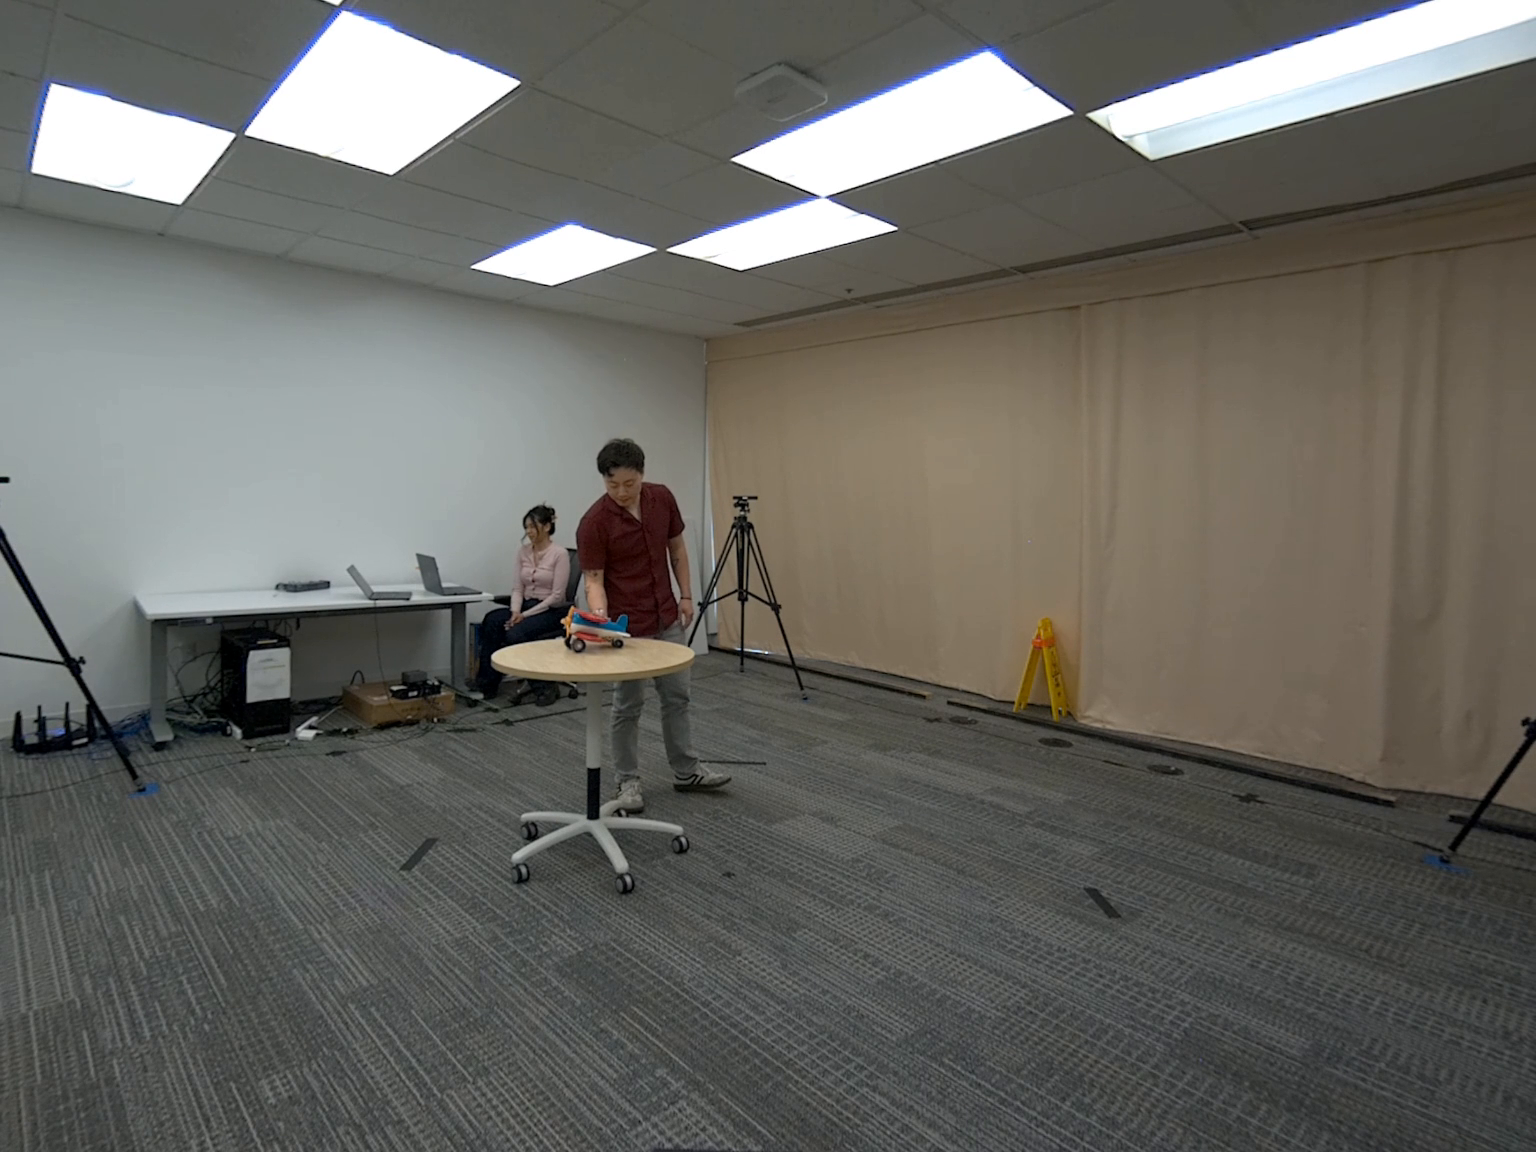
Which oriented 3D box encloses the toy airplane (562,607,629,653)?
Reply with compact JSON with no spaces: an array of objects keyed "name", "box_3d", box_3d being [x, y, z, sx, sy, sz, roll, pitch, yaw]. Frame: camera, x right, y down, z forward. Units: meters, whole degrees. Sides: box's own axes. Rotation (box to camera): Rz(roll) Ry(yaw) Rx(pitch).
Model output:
[{"name":"toy airplane","box_3d":[-0.703,0.209,3.323,0.257,0.156,0.254,4,7,33]}]
